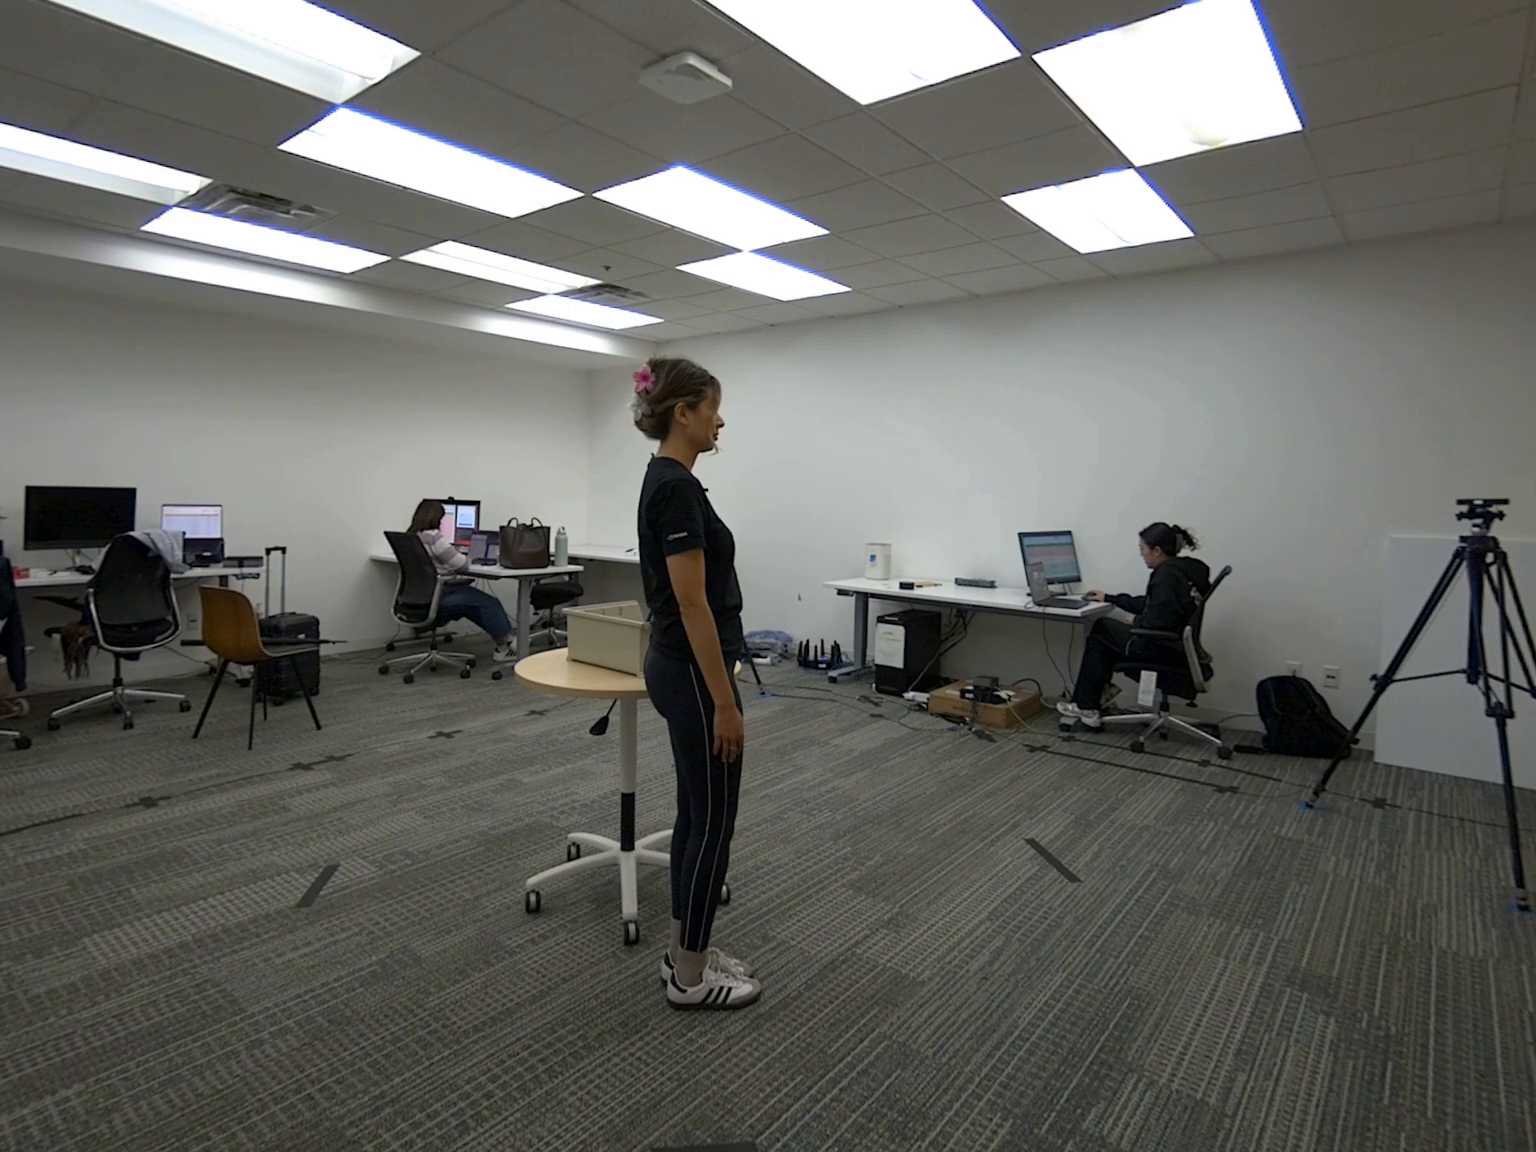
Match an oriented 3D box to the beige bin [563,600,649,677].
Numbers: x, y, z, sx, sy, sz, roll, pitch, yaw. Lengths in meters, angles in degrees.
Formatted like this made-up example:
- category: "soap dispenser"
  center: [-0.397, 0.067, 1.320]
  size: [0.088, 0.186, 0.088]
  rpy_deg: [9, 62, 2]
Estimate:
- category: "beige bin"
  center: [-0.446, 0.207, 2.950]
  size: [0.437, 0.188, 0.366]
  rpy_deg: [6, 8, 41]
